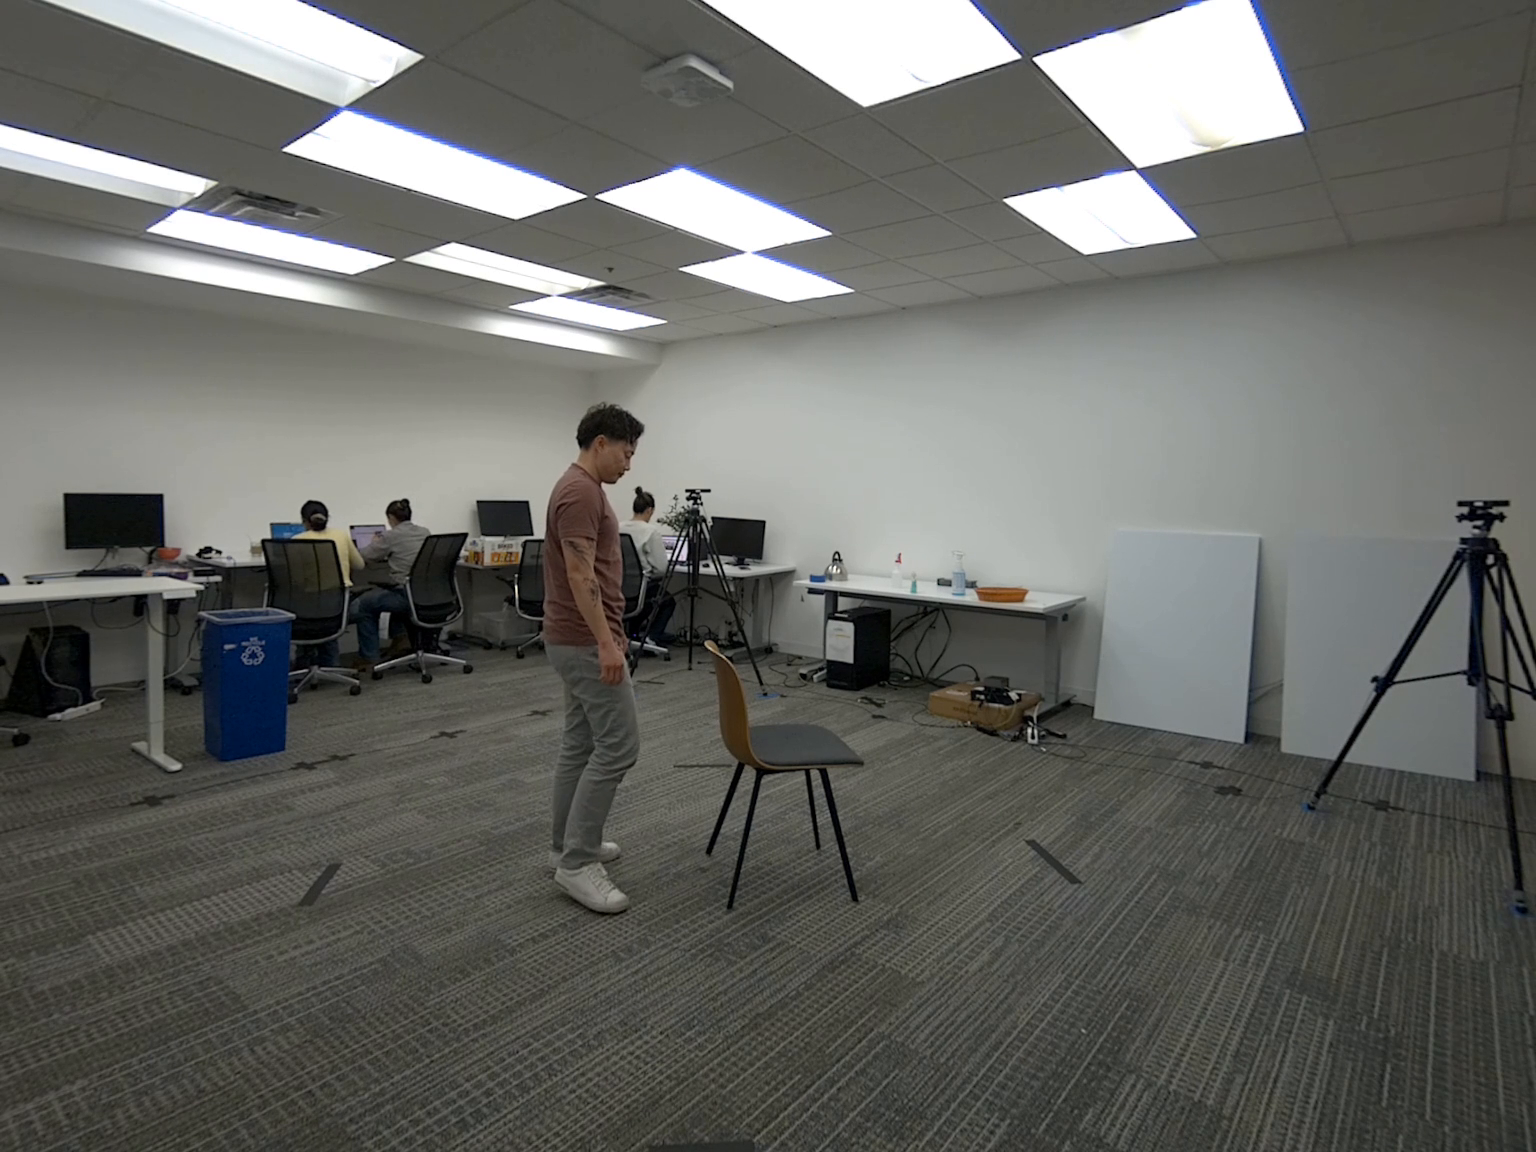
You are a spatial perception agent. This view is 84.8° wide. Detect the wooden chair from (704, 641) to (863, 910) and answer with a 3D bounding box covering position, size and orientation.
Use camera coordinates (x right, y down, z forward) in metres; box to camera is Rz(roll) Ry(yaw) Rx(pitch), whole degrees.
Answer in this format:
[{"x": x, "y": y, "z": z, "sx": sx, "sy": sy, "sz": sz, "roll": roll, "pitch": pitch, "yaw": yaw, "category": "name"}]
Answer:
[{"x": 0.048, "y": 0.659, "z": 3.047, "sx": 0.517, "sy": 0.875, "sz": 0.485, "roll": -4, "pitch": 3, "yaw": -12, "category": "wooden chair"}]
